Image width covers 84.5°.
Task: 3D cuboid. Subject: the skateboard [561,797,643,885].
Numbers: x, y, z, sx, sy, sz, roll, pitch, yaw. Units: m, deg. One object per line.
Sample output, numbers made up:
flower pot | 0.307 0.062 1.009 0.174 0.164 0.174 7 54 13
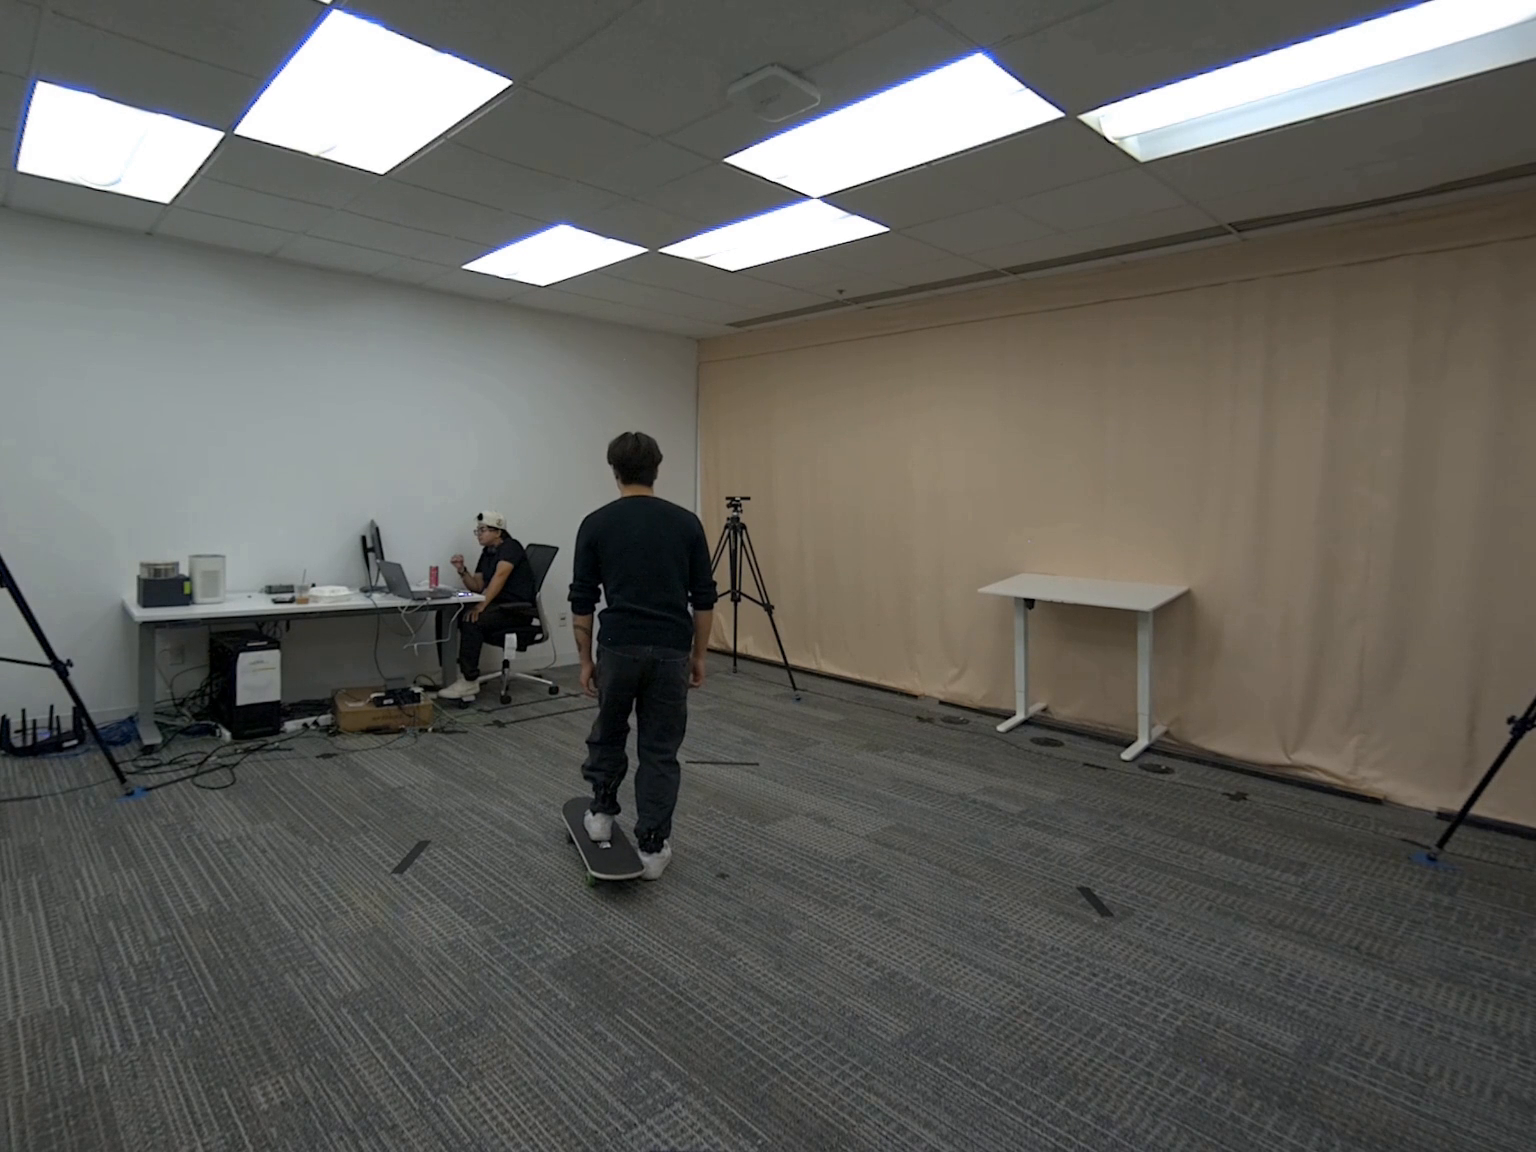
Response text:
skateboard | -0.654 1.026 3.220 0.190 0.110 0.801 0 6 -22
